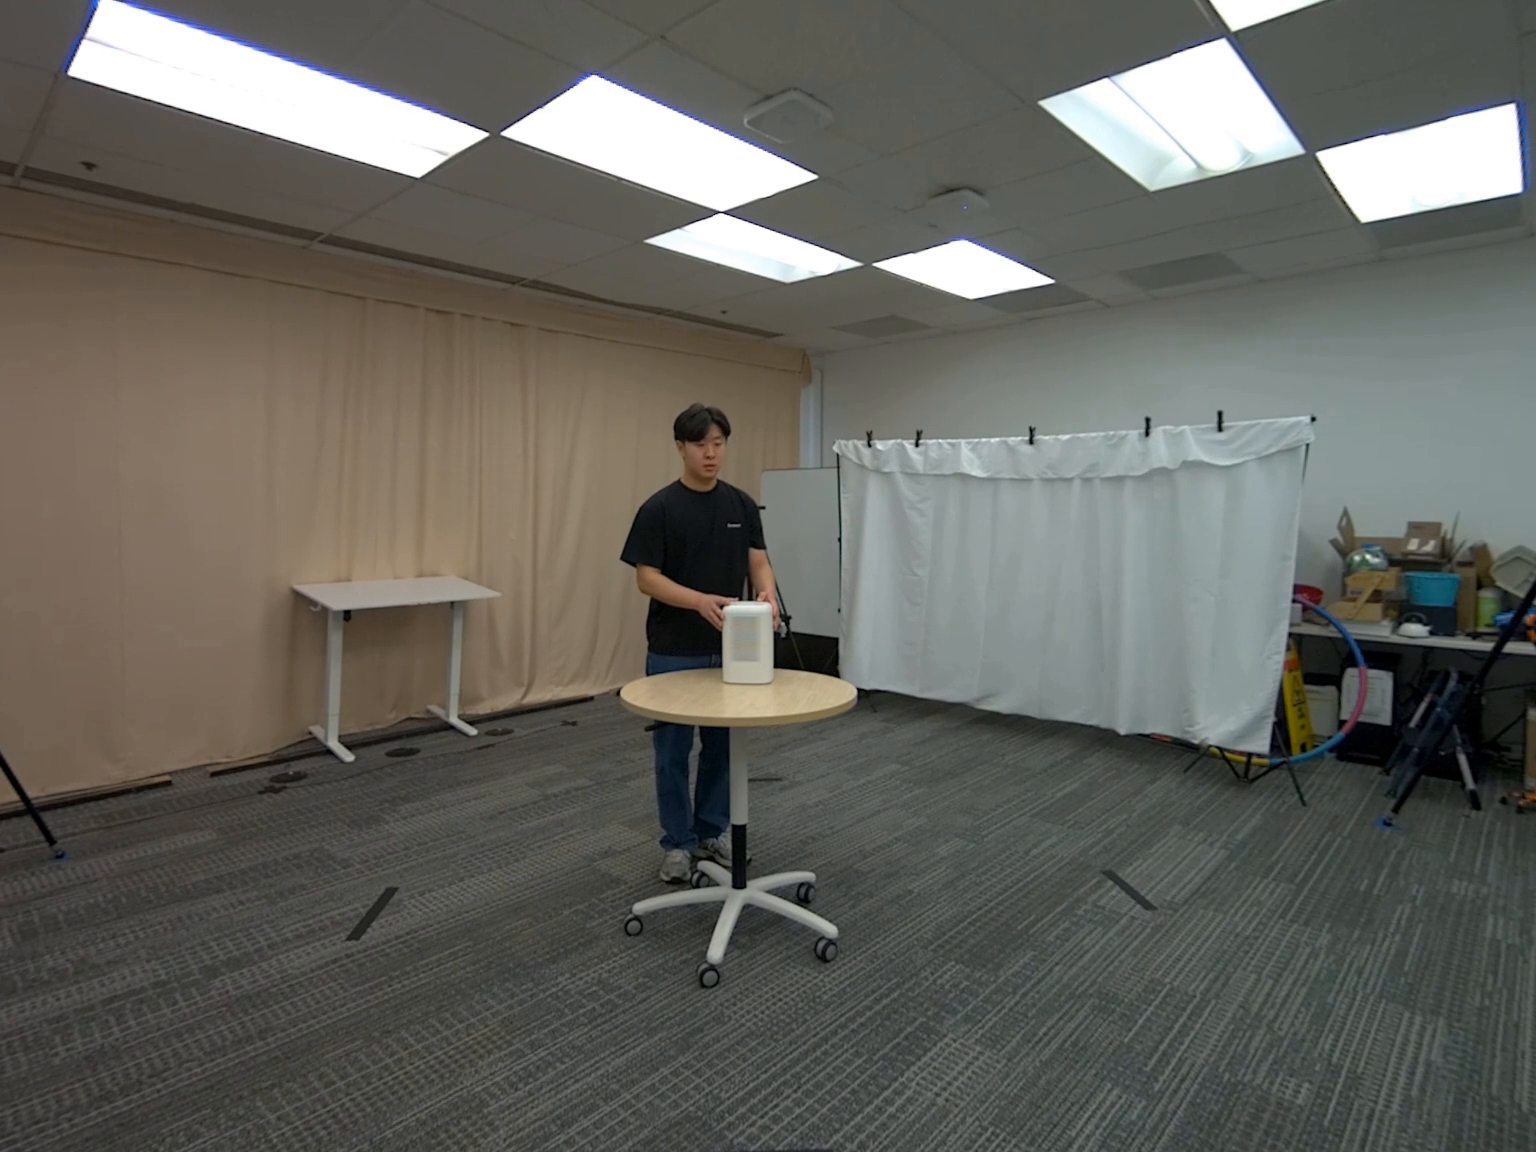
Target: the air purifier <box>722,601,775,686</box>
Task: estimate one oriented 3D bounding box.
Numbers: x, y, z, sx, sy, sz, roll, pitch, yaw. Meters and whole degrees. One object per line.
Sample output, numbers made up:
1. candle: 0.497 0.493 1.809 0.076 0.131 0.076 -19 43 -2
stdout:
1. air purifier: -0.063 0.227 2.890 0.173 0.265 0.170 2 3 7
